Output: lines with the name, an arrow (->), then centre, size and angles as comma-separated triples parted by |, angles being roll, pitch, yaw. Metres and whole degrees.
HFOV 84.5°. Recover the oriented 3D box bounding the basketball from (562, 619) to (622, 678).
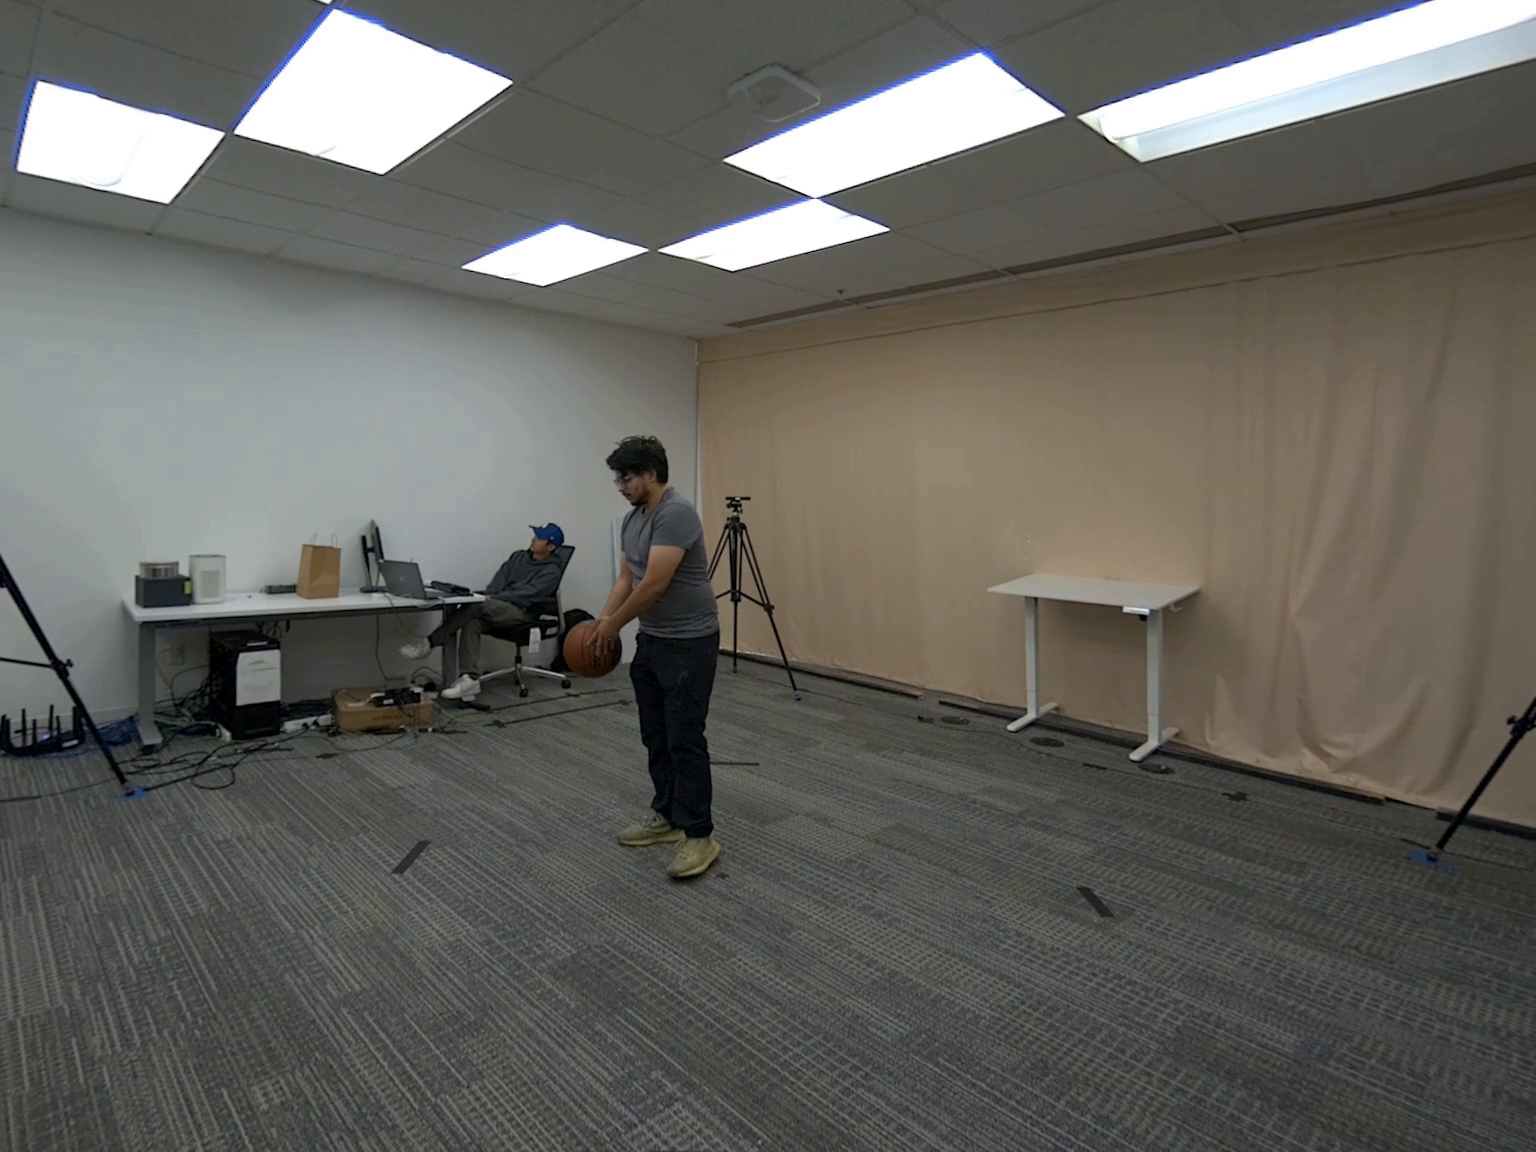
basketball -> -0.717, 0.292, 3.451 | 0.236, 0.235, 0.237 | 1, 4, -1
